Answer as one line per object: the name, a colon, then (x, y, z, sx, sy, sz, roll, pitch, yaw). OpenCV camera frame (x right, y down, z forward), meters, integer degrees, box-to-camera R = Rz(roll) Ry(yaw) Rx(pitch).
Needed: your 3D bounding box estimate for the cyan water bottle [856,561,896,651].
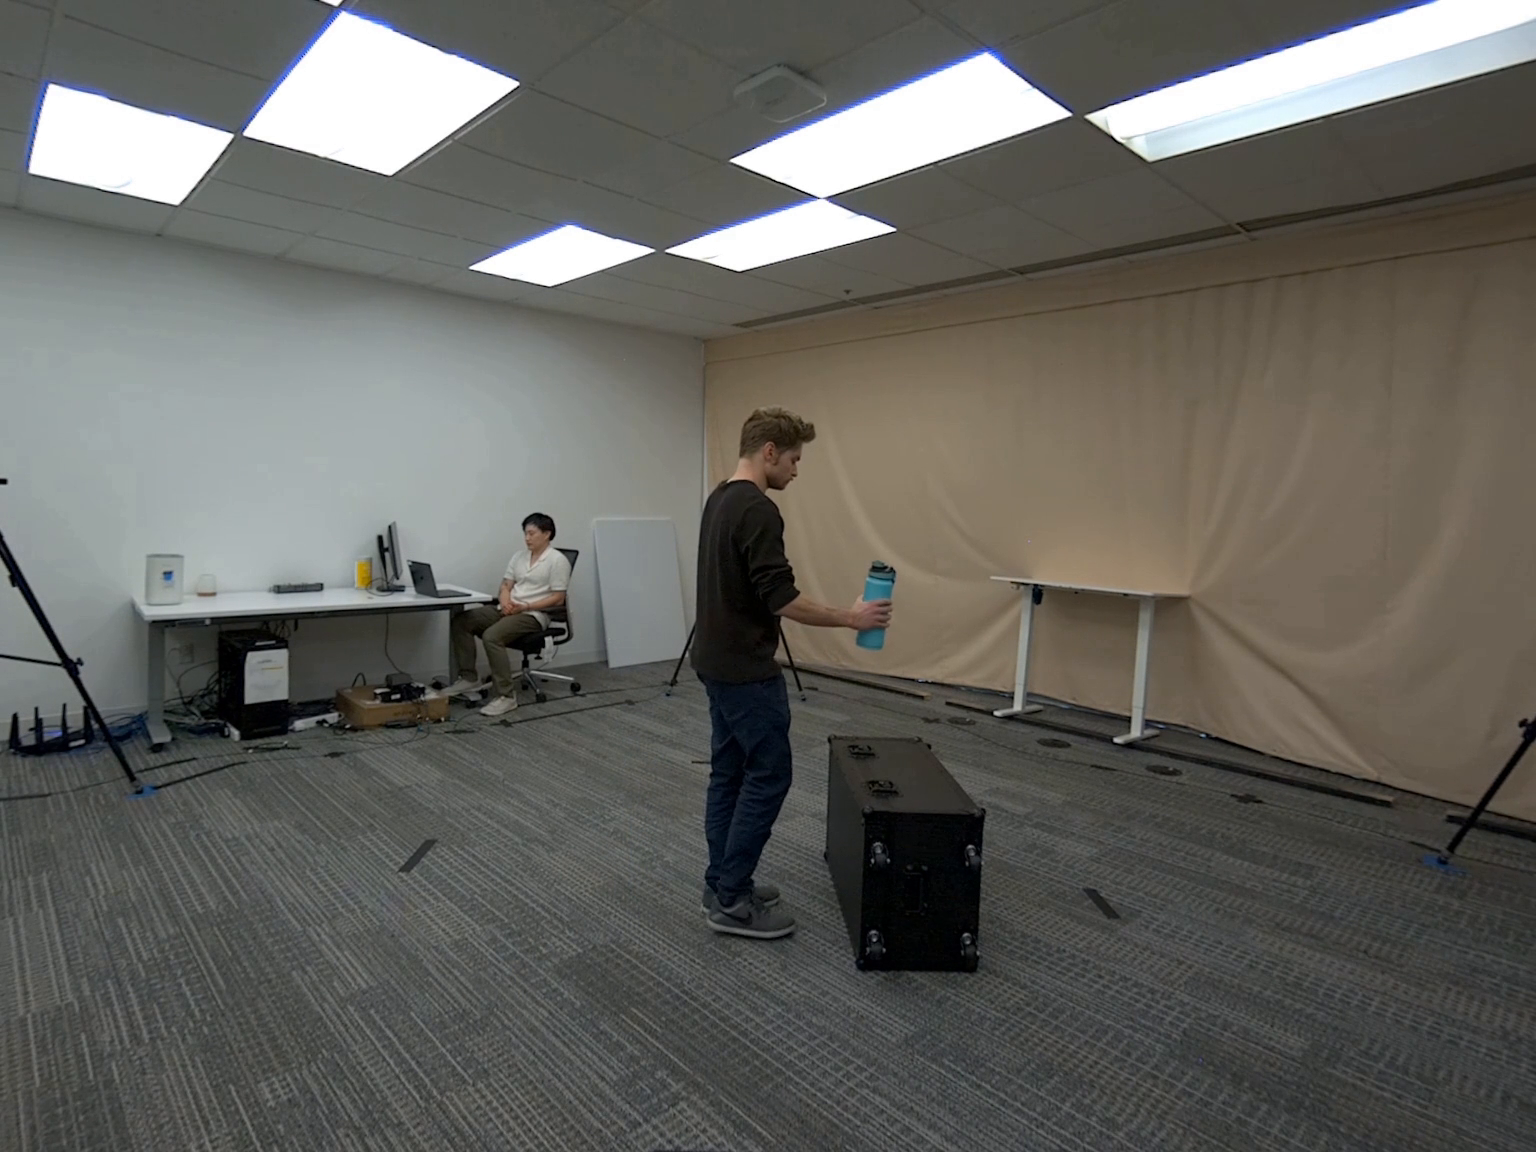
cyan water bottle: (0.345, 0.089, 2.734, 0.092, 0.283, 0.092, 9, 2, -2)
